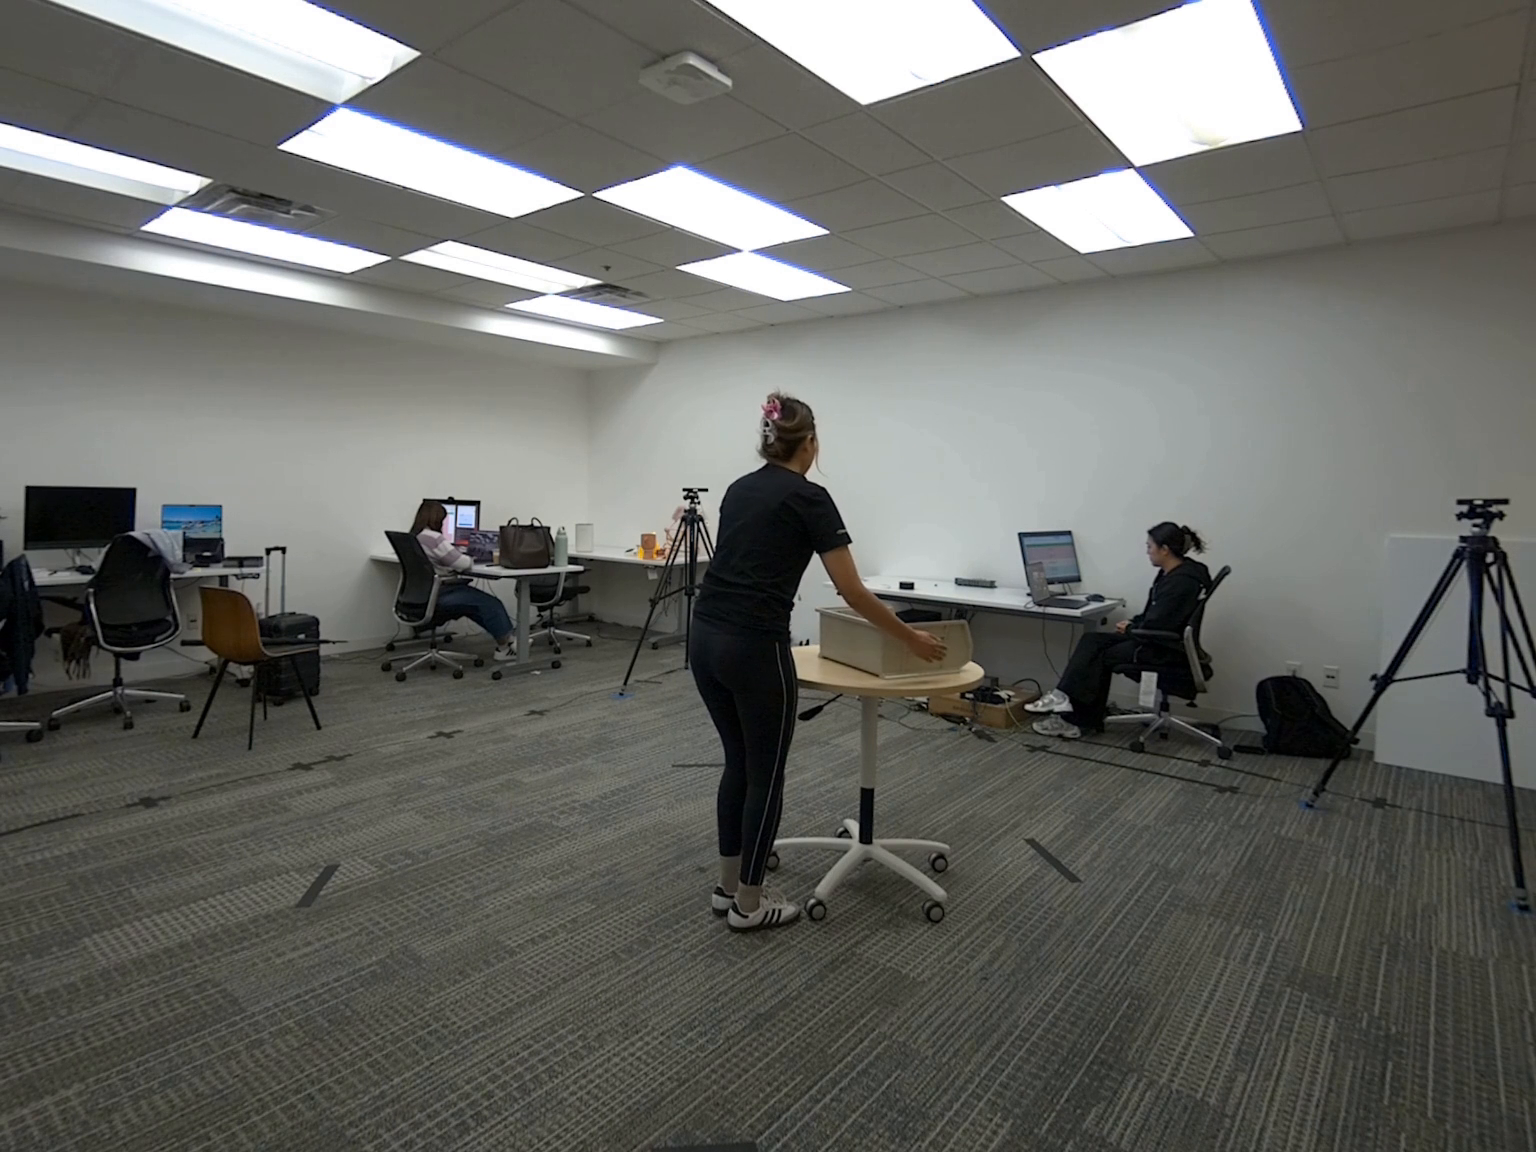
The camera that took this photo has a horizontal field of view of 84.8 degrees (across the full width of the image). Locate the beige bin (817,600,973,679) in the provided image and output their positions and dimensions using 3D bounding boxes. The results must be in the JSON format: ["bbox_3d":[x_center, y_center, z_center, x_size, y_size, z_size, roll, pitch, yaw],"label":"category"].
[{"bbox_3d":[0.428,0.221,3.017,0.368,0.188,0.435,-2,8,-27],"label":"beige bin"}]
